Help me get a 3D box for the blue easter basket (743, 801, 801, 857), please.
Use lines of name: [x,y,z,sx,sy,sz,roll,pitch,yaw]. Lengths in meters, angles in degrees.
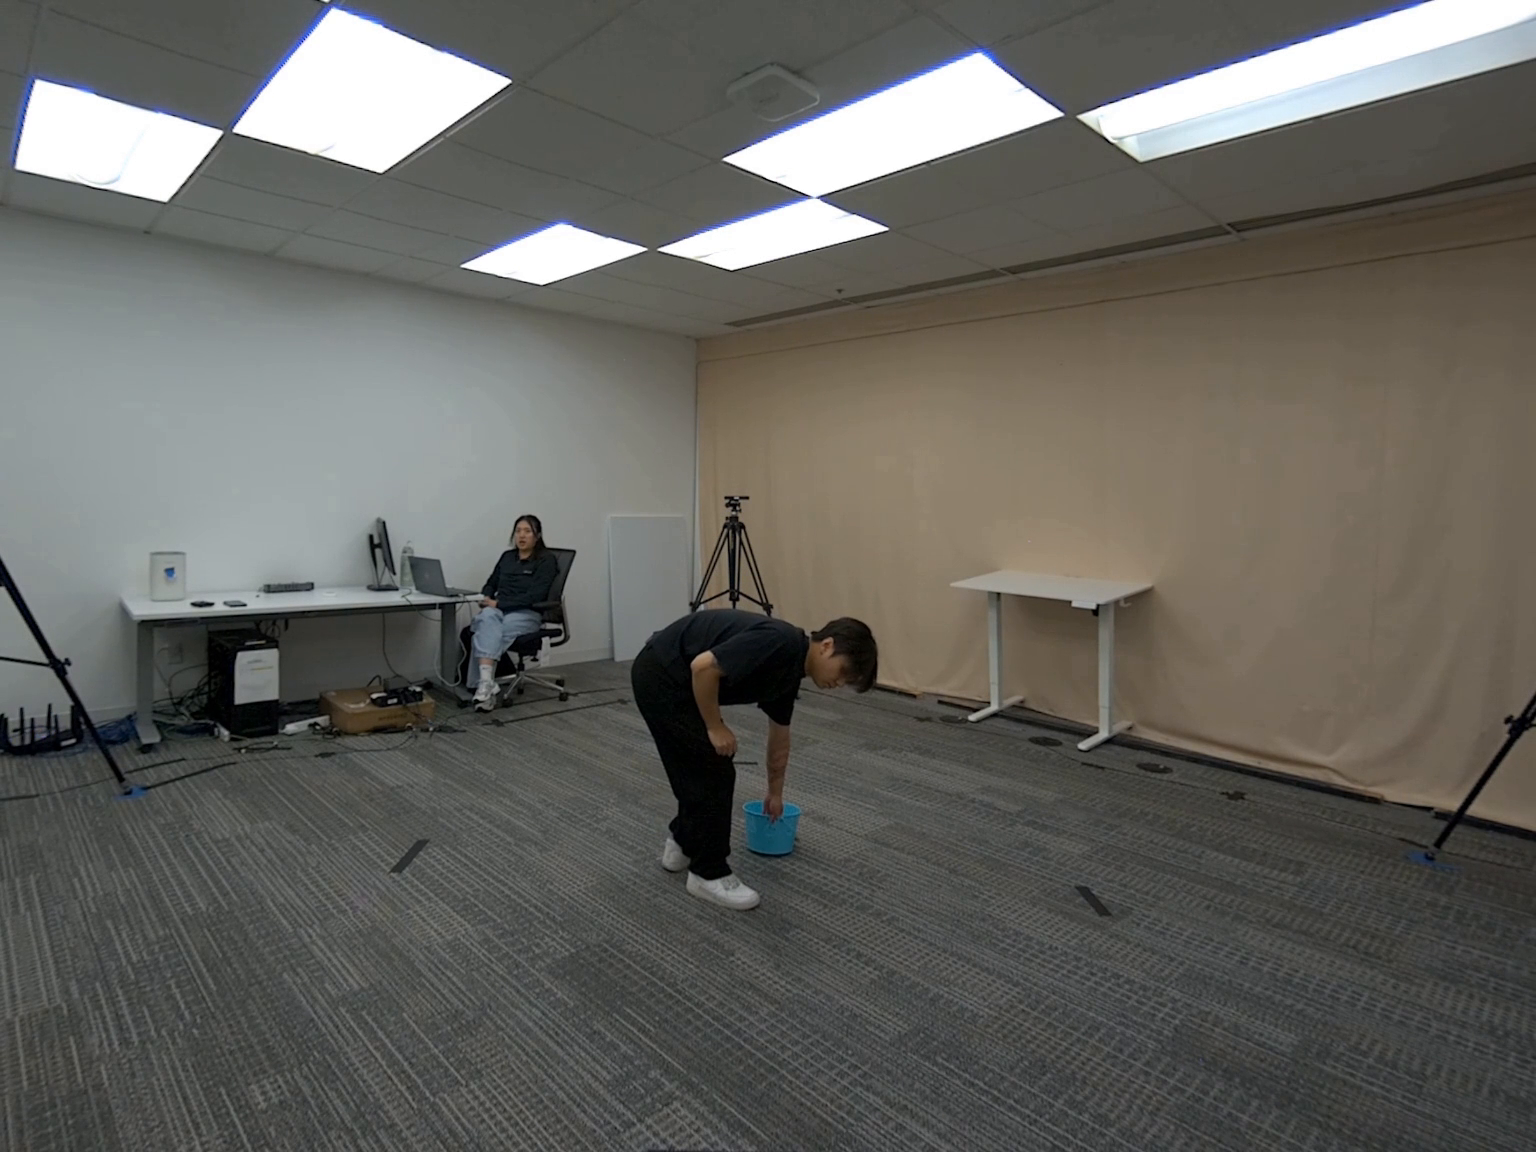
blue easter basket: [0.000,1.000,3.348,0.243,0.156,0.243,3,-1,-1]
